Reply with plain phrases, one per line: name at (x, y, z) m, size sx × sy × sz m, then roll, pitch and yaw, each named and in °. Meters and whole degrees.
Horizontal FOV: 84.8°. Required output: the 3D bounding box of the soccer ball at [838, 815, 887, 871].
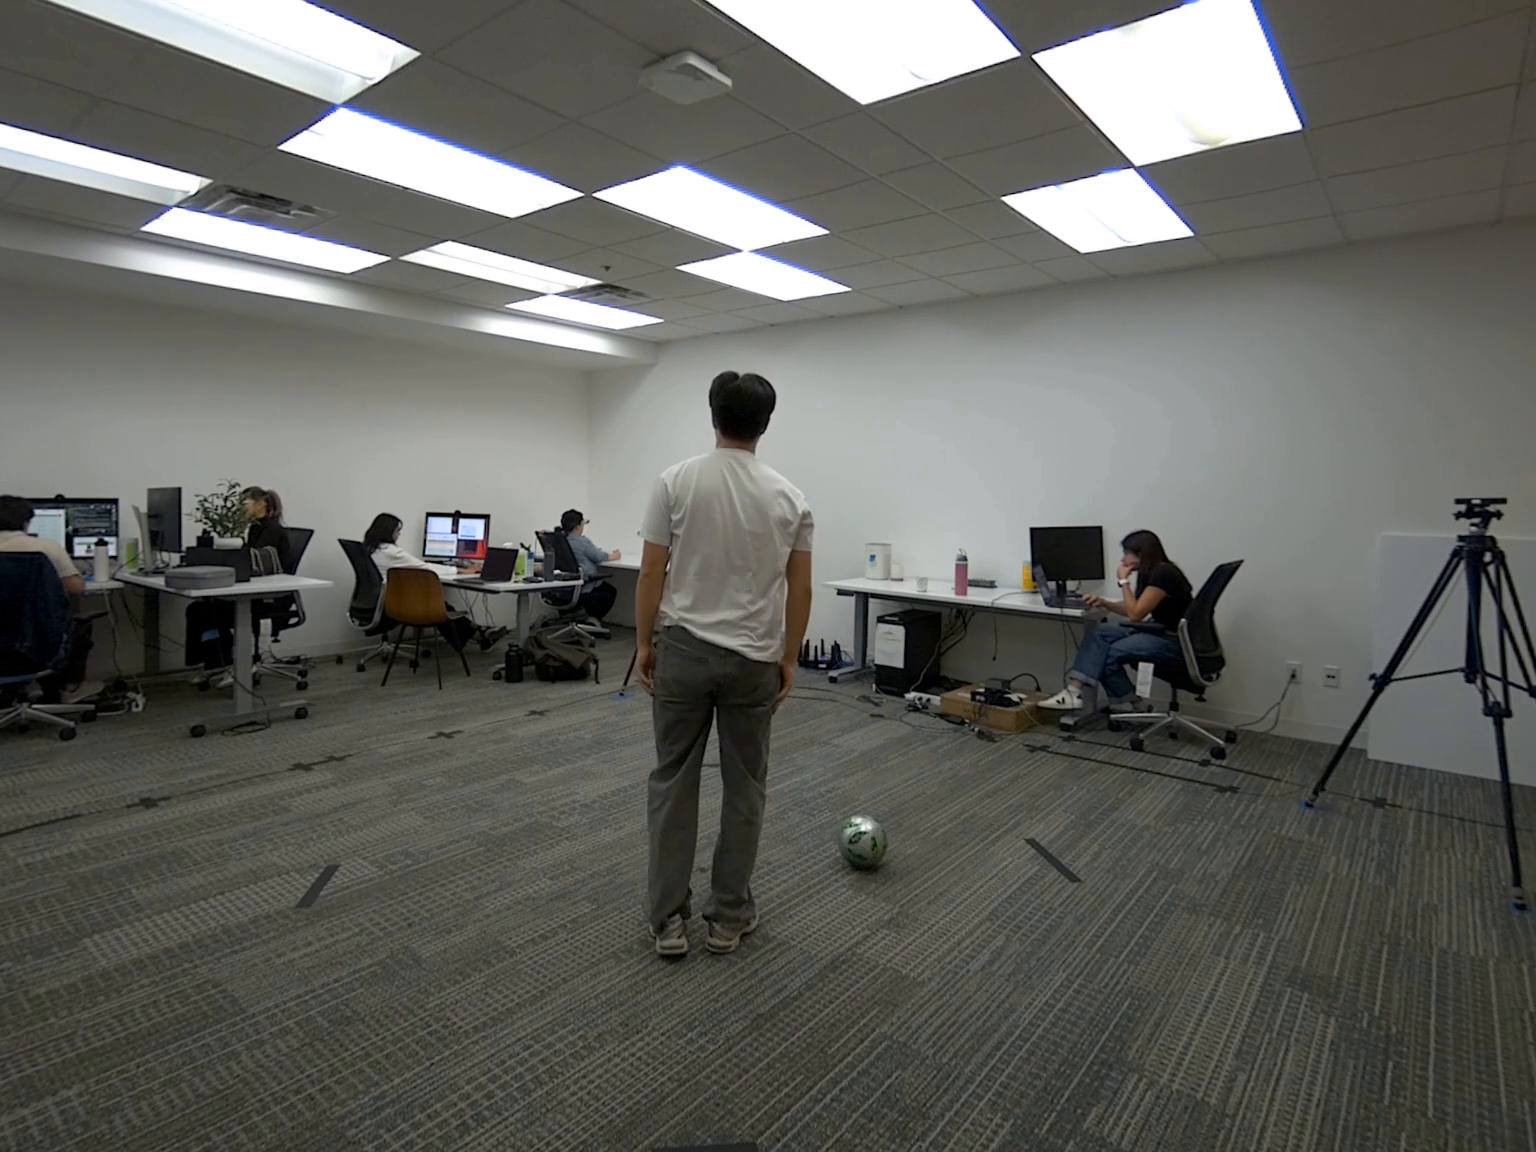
soccer ball at (0.353, 0.984, 3.167) m, size 0.187 × 0.187 × 0.188 m, roll 1°, pitch 4°, yaw -2°
